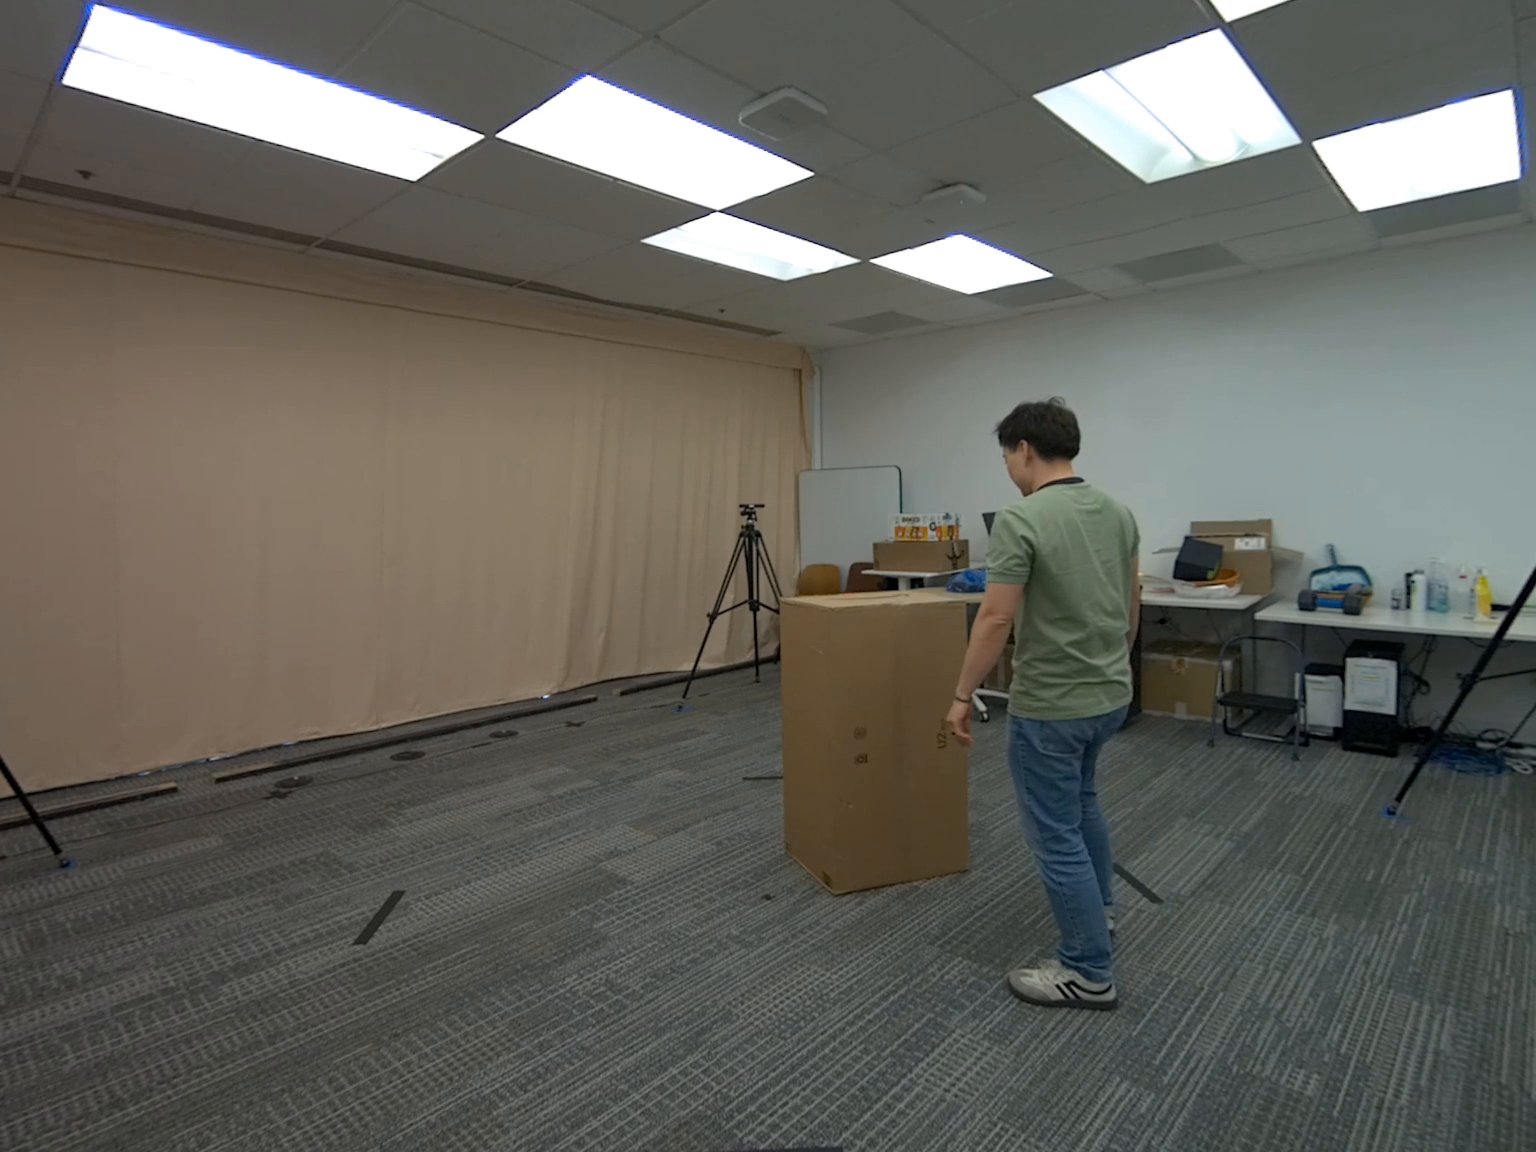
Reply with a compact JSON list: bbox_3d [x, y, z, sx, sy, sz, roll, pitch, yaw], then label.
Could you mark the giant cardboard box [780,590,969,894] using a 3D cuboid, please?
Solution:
[{"bbox_3d":[0.402,0.596,3.249,0.565,1.024,0.436,-2,3,-22],"label":"giant cardboard box"}]
